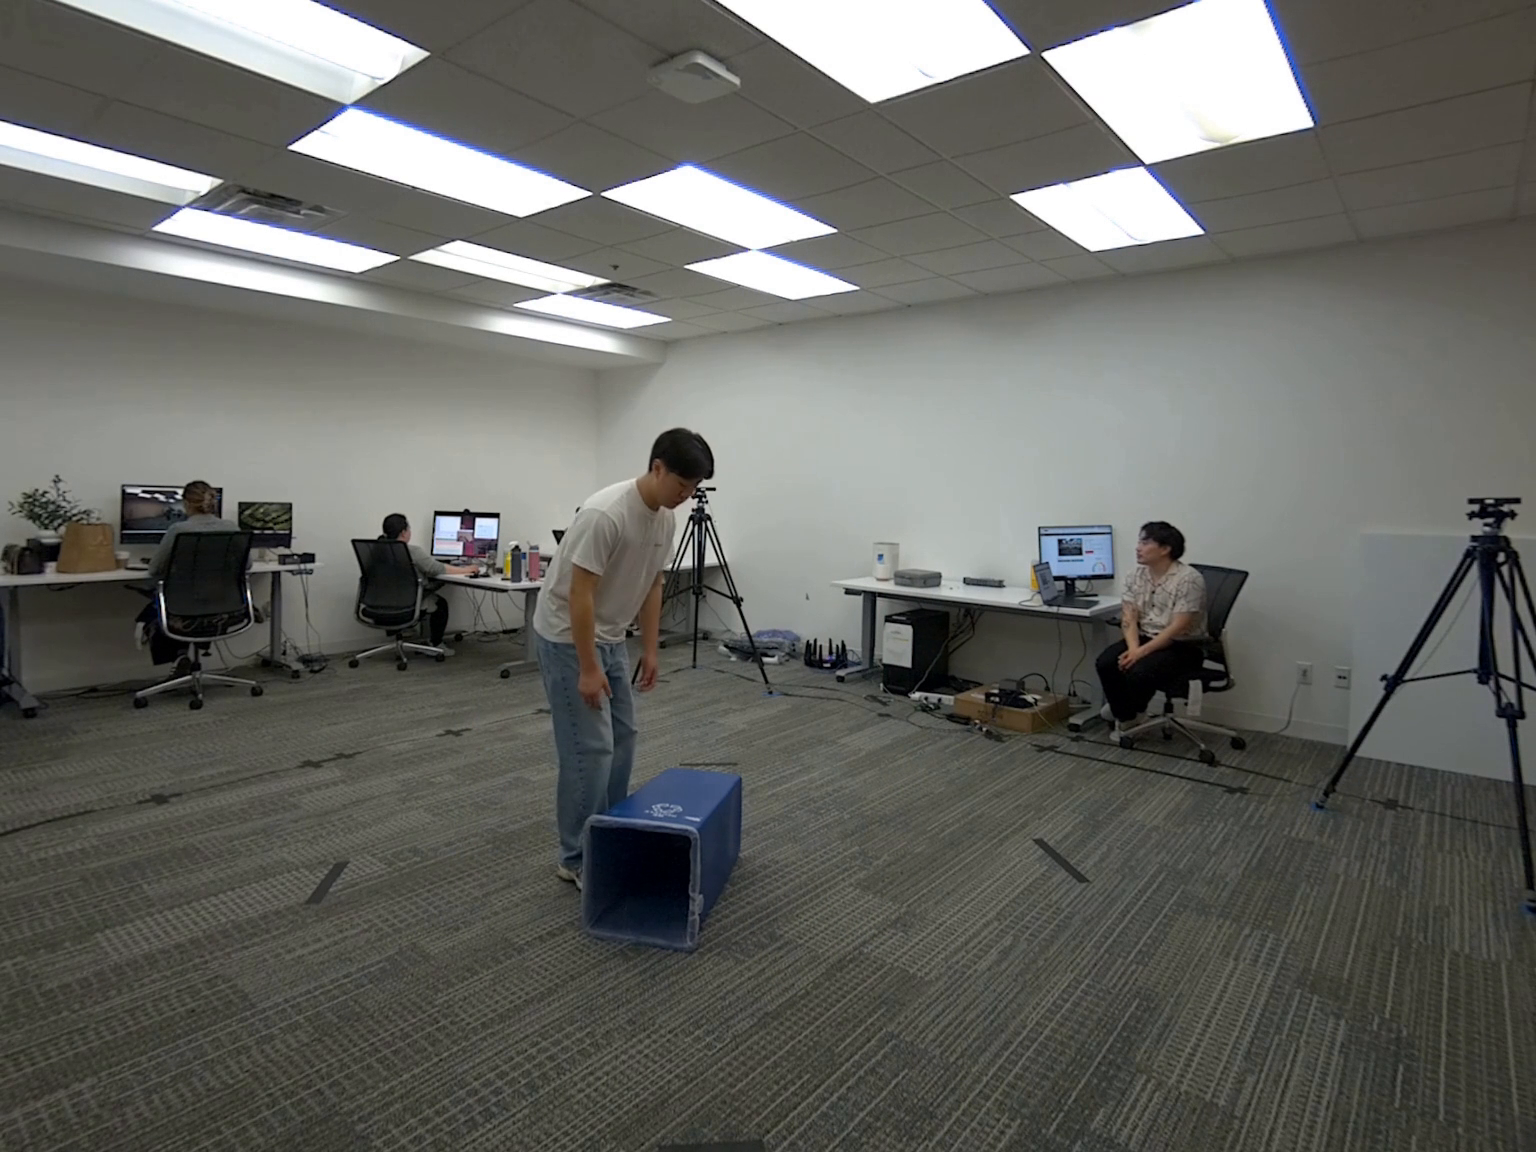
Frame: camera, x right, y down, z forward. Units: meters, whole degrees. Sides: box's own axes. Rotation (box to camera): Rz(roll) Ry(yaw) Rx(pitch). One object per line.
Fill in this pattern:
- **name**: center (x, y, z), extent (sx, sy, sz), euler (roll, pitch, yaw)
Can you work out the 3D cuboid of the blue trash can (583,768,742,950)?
- **blue trash can**: center (-0.332, 0.914, 2.912), extent (0.379, 0.378, 0.704), euler (1, 2, 12)
